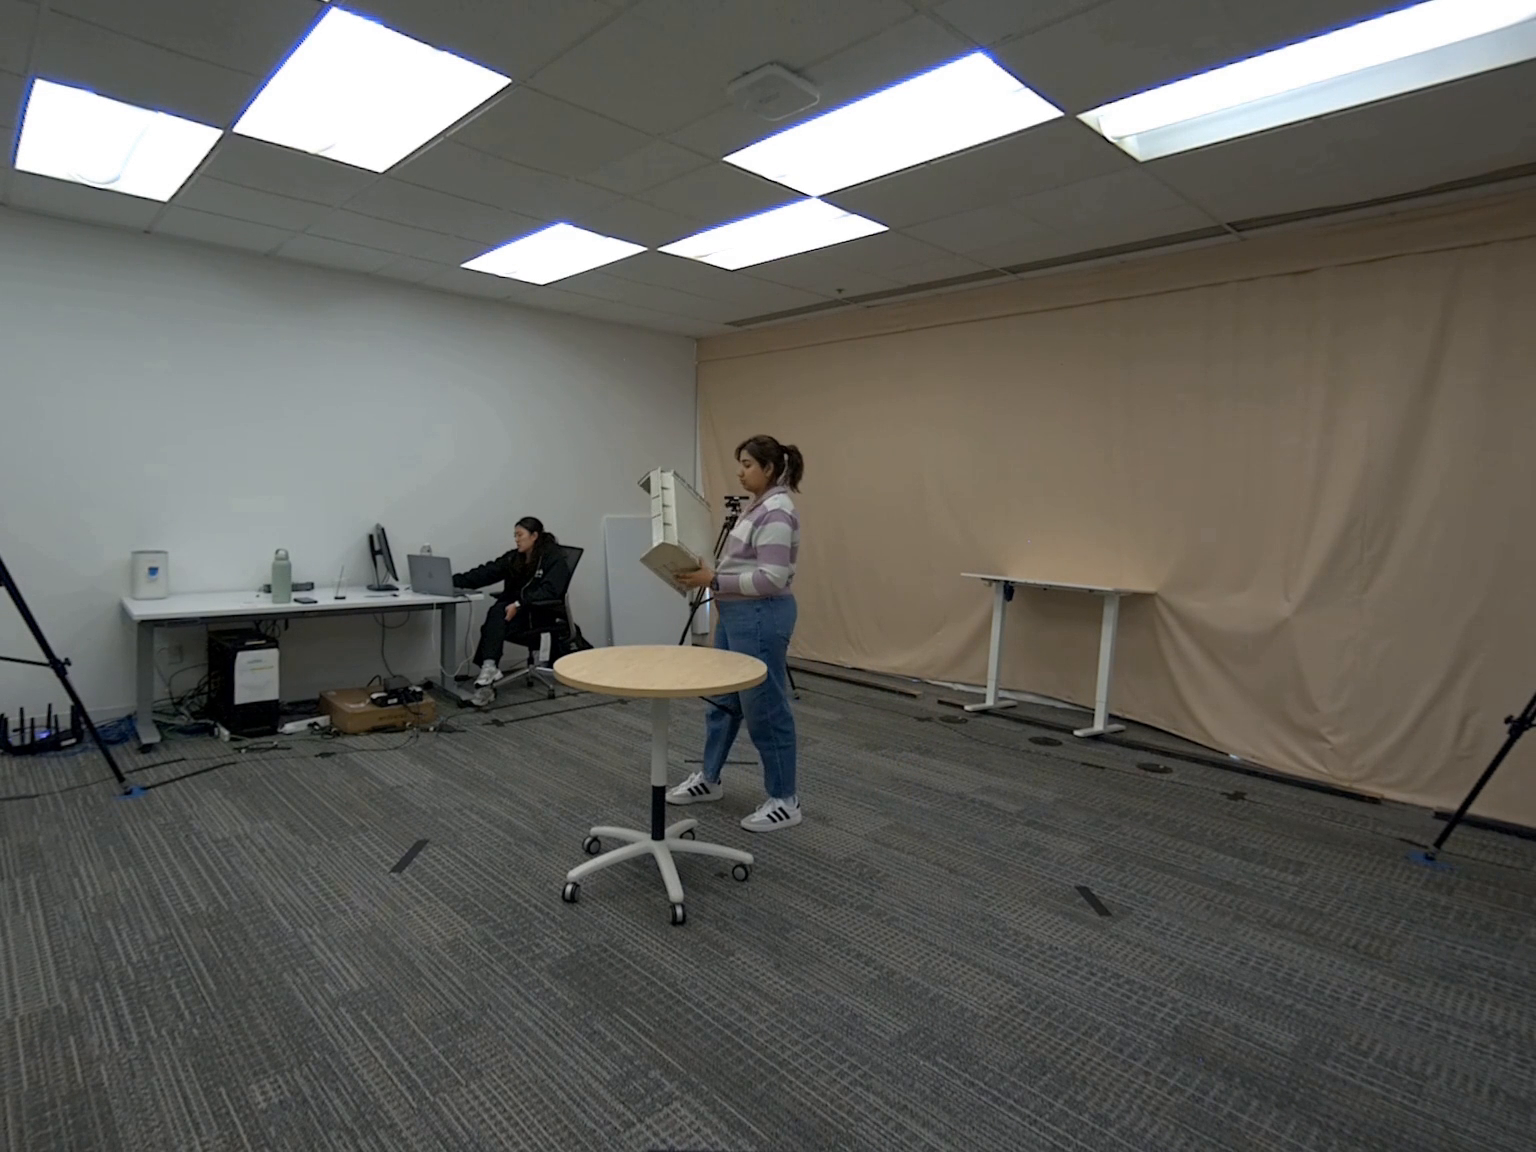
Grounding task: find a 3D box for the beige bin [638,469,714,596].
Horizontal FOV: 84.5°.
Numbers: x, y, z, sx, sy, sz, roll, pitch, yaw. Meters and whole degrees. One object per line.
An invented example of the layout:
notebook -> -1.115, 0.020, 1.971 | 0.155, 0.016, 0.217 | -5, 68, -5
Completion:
beige bin -> -0.409, -0.198, 3.604 | 0.190, 0.432, 0.365 | -24, -38, 19
